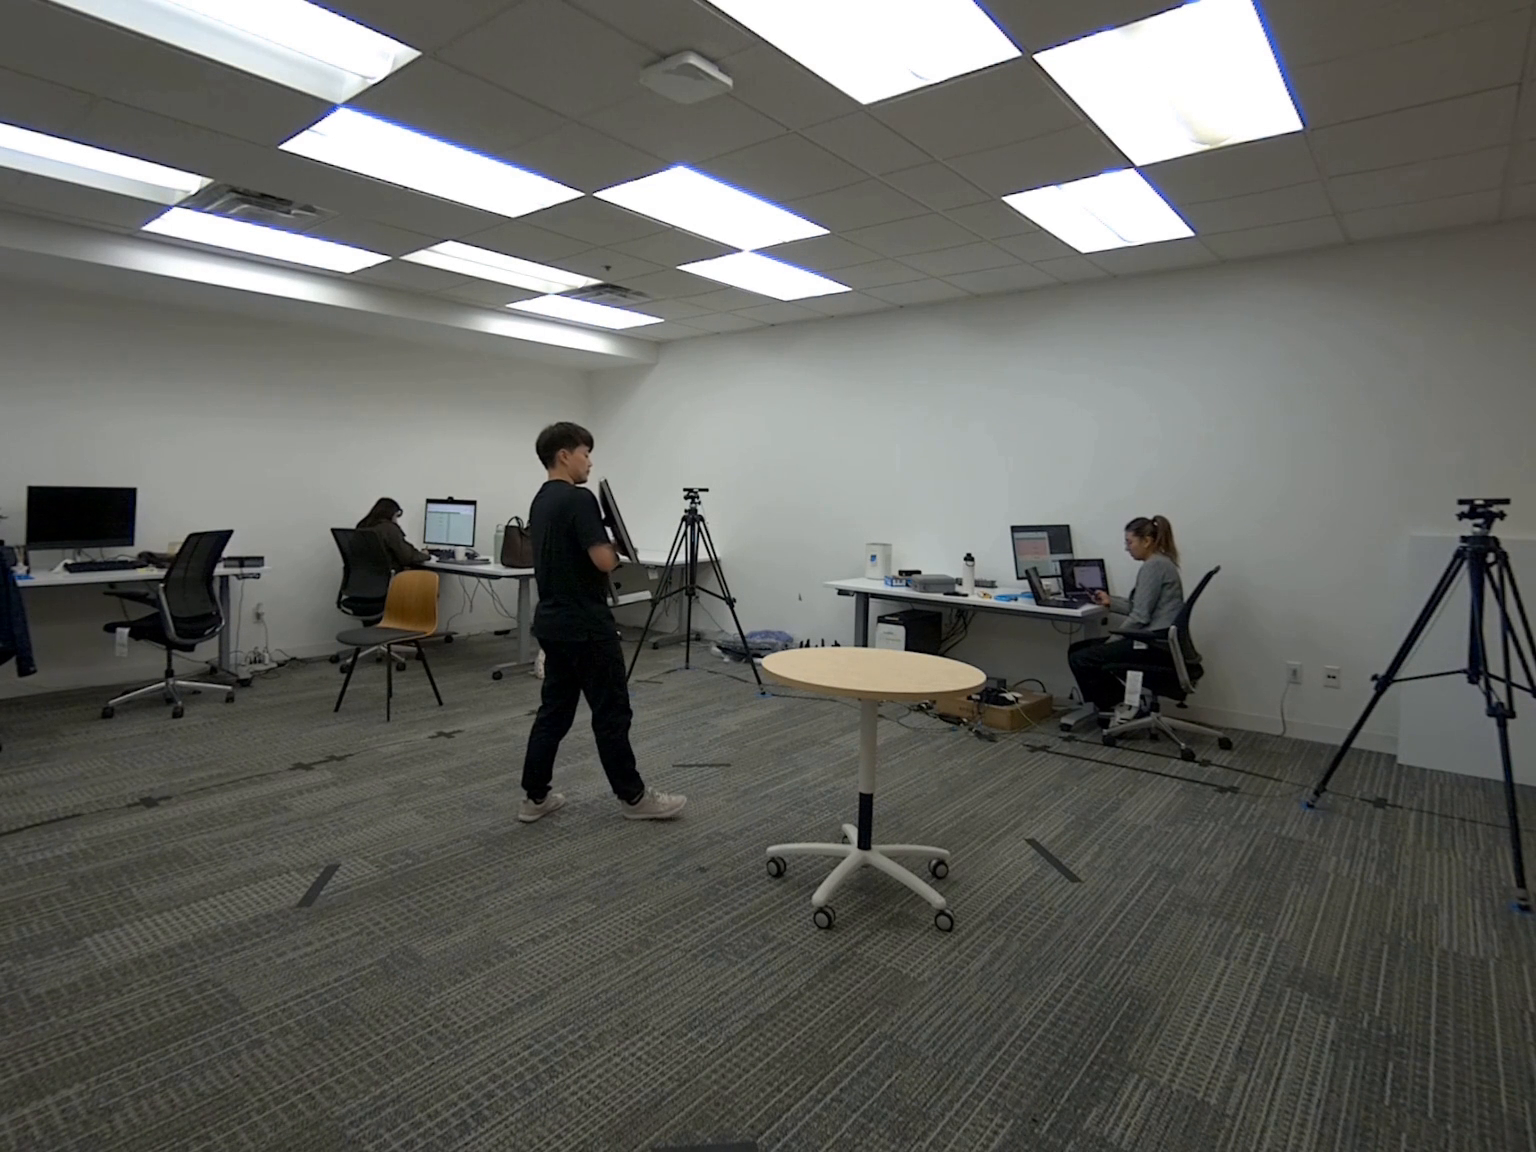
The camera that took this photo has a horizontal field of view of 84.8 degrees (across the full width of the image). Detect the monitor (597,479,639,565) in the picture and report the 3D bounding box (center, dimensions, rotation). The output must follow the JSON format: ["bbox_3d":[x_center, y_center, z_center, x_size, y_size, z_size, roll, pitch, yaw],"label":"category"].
[{"bbox_3d":[-0.666,-0.157,3.647,0.185,0.519,0.548,-11,7,-12],"label":"monitor"}]
